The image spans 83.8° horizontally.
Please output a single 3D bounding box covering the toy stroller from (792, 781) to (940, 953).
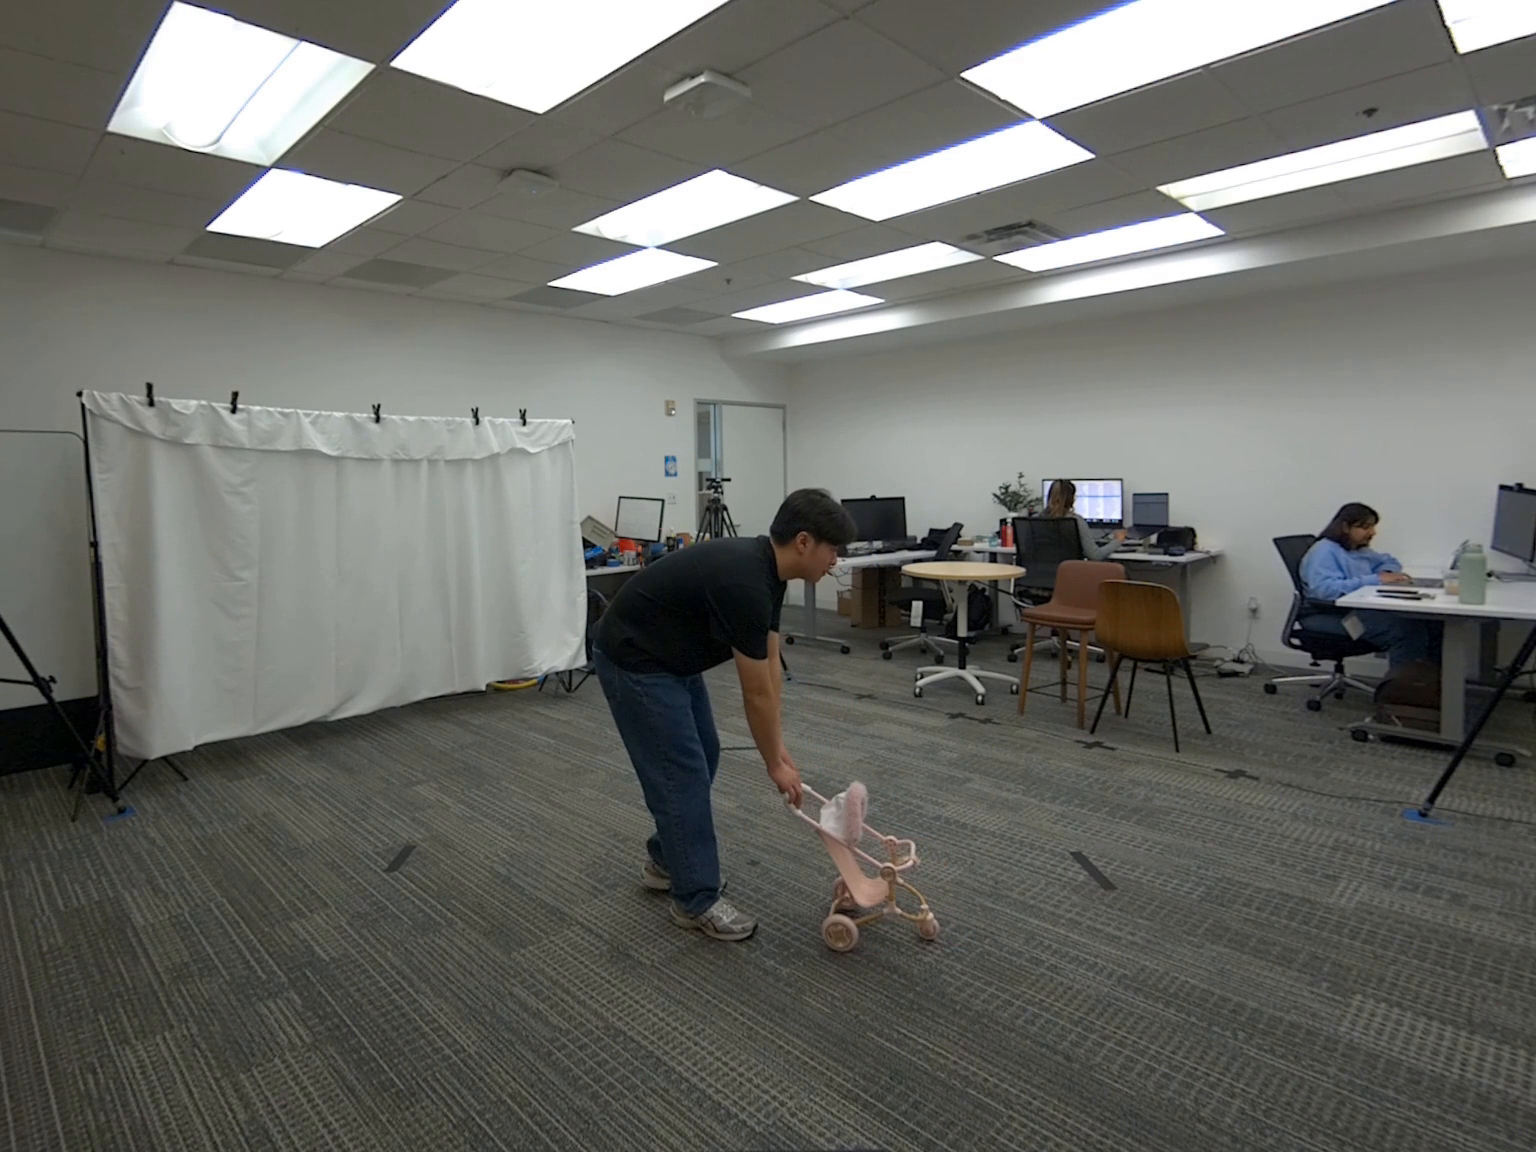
[{"bbox_3d":[0.298,0.873,2.606,0.345,0.535,0.278,-17,1,18],"label":"toy stroller"}]
